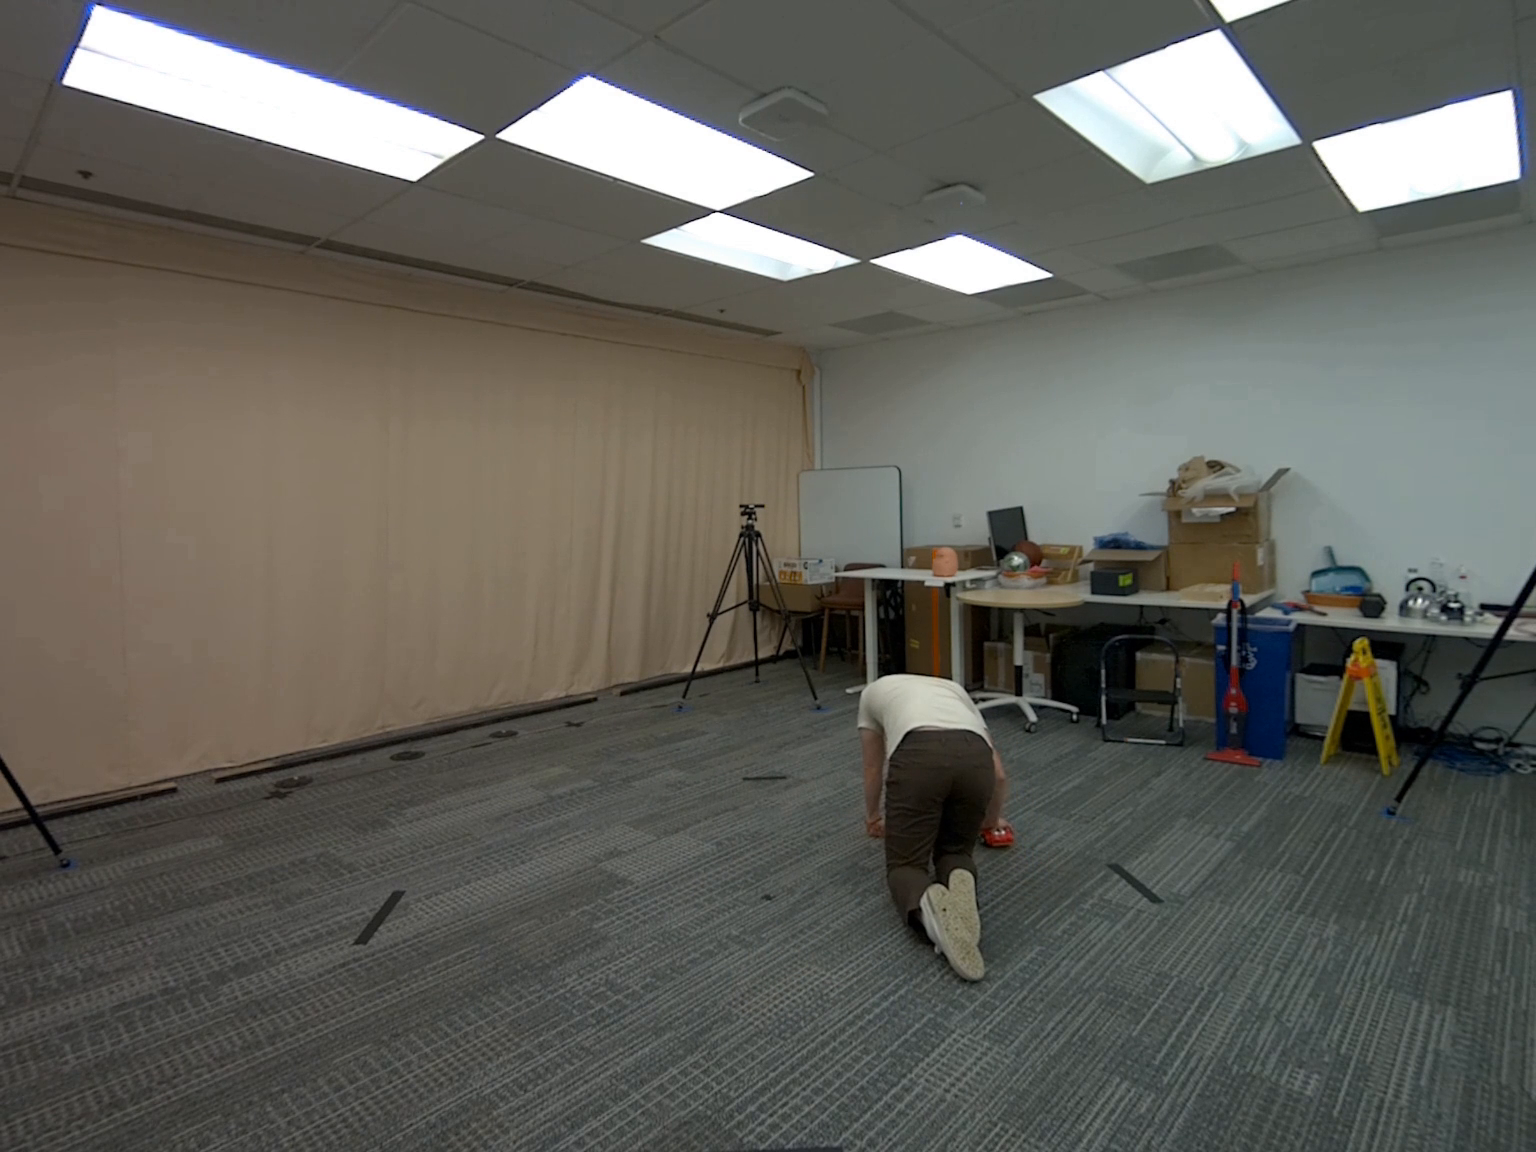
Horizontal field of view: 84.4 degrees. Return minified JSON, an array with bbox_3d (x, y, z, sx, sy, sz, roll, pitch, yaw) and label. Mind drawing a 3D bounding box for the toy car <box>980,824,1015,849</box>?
[{"bbox_3d":[0.919,1.054,3.457,0.129,0.083,0.255,-1,-4,-8],"label":"toy car"}]
